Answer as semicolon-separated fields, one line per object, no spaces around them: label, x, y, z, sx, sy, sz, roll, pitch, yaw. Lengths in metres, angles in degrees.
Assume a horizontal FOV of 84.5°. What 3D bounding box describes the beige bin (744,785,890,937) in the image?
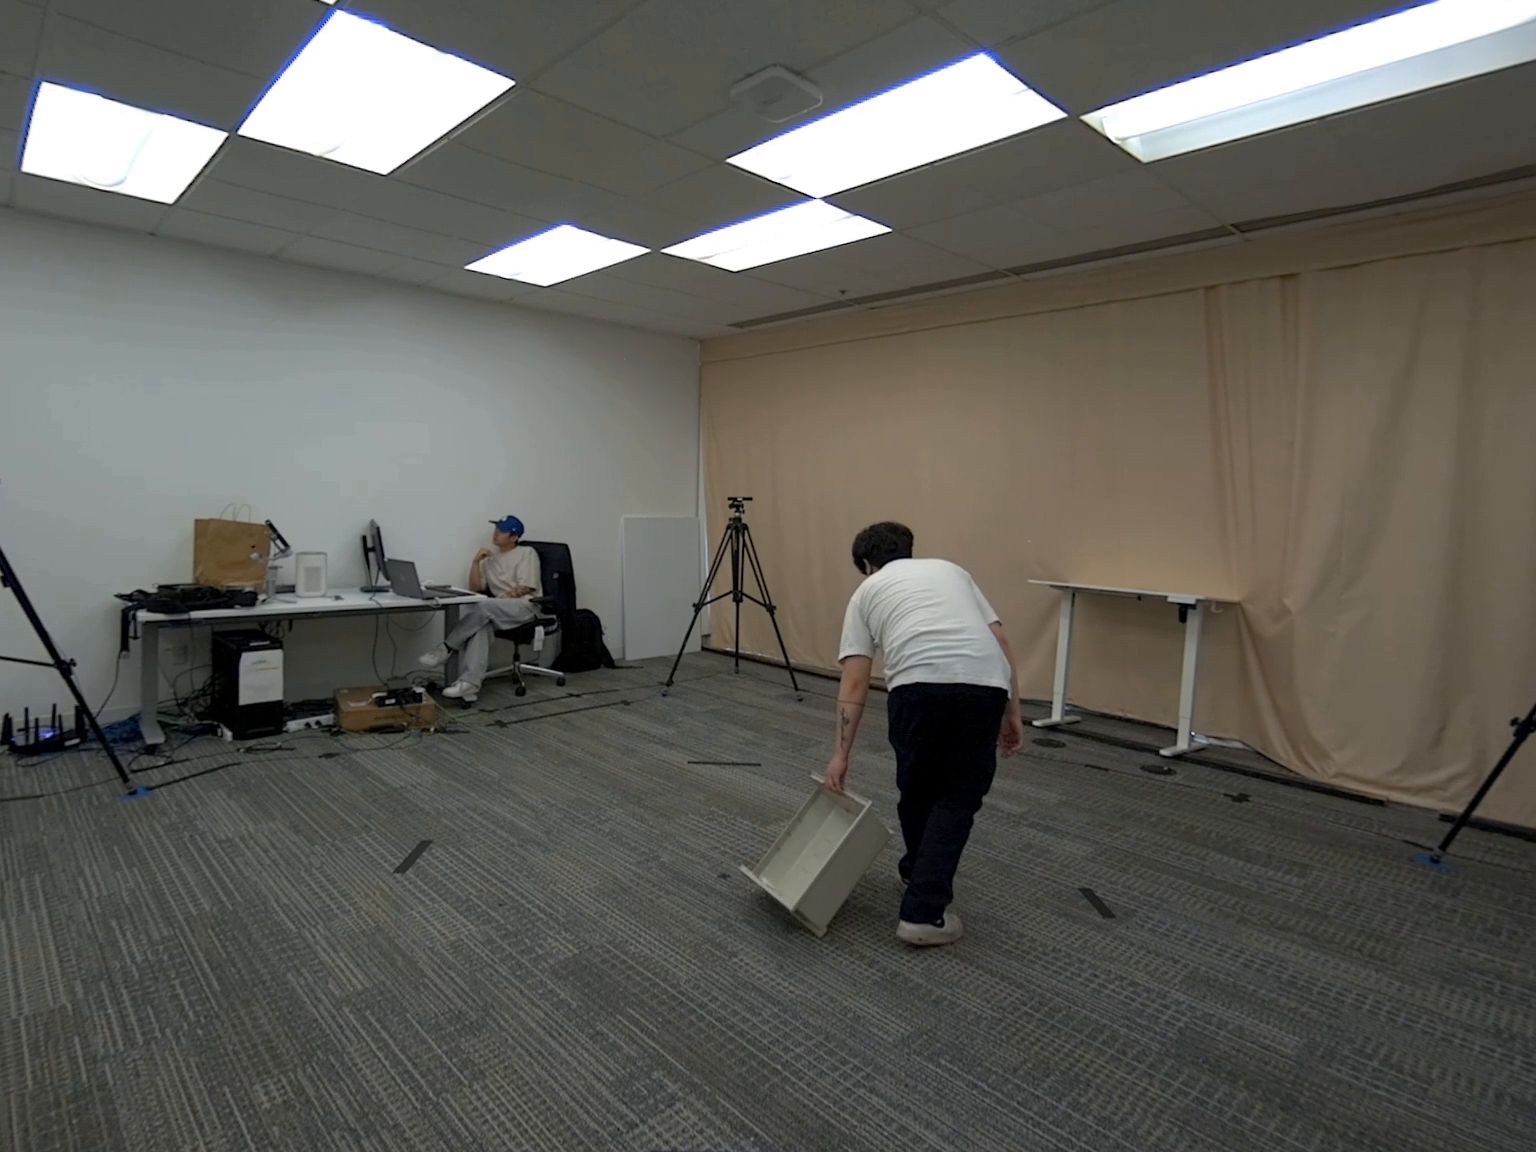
beige bin;0.147;0.929;2.851;0.422;0.184;0.386;-46;26;-17
